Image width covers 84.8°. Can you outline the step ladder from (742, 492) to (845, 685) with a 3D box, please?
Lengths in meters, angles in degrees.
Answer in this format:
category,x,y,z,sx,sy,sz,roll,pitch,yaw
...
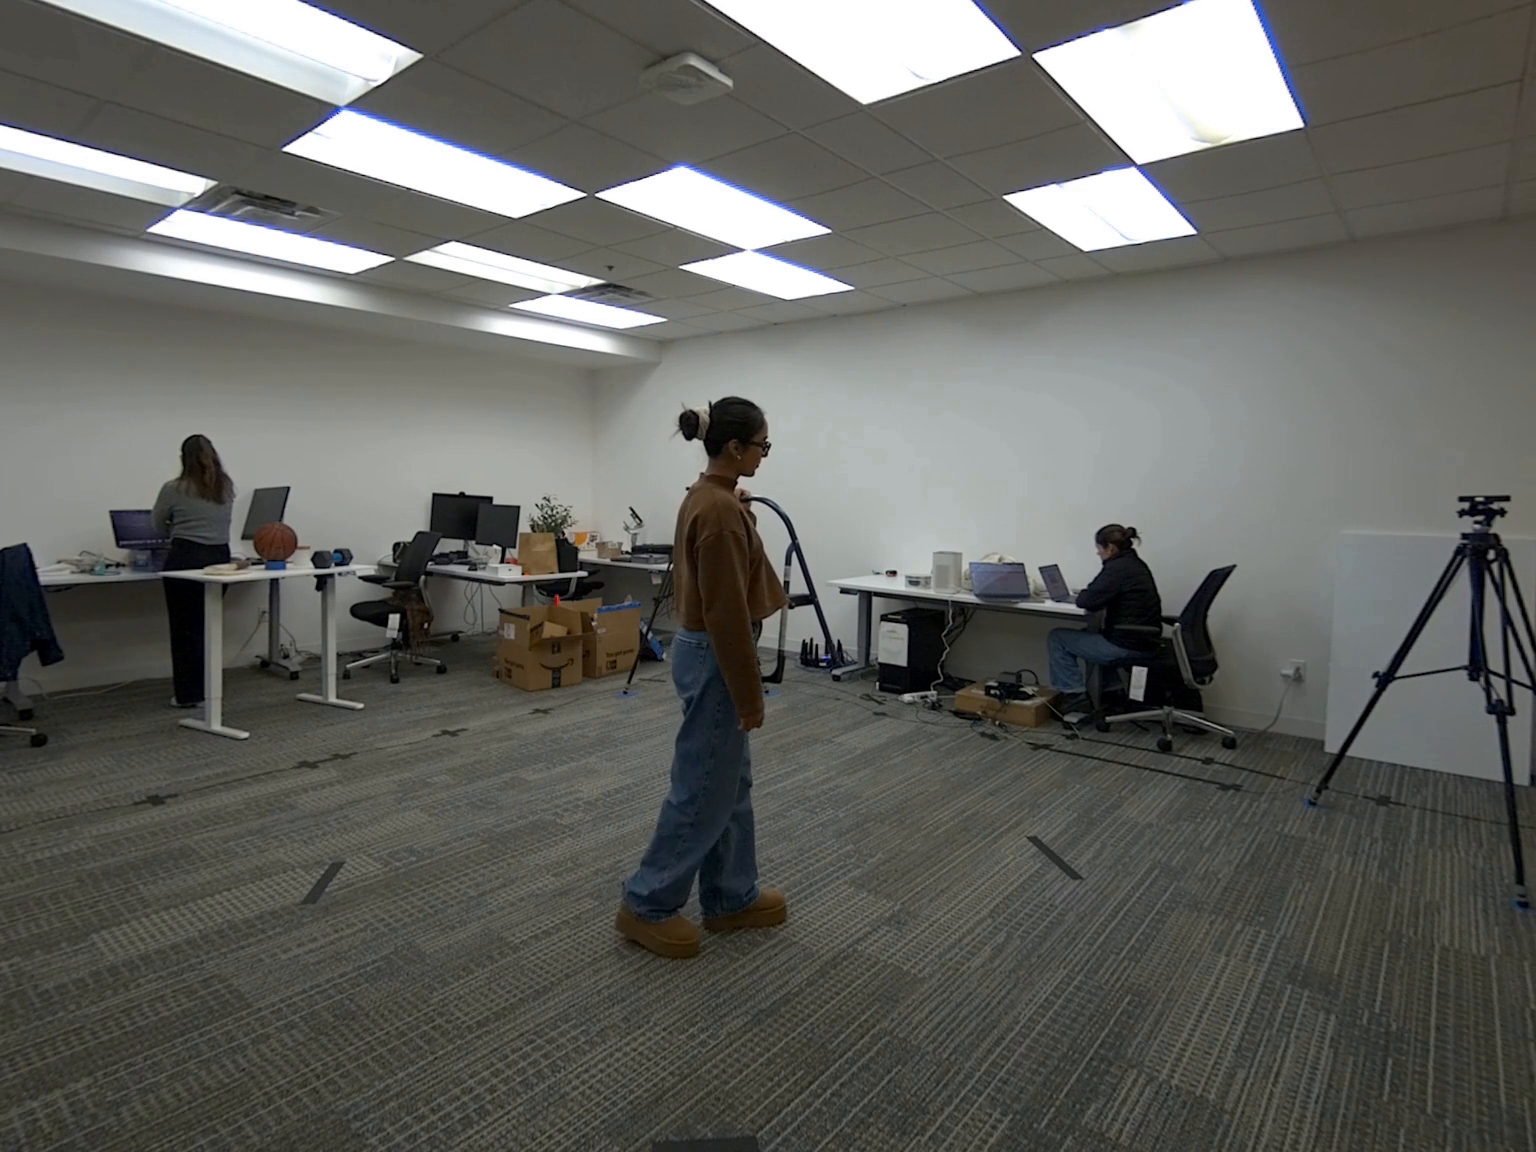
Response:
category,x,y,z,sx,sy,sz,roll,pitch,yaw
step ladder,-0.047,0.025,2.925,0.443,0.606,0.339,-4,1,42
